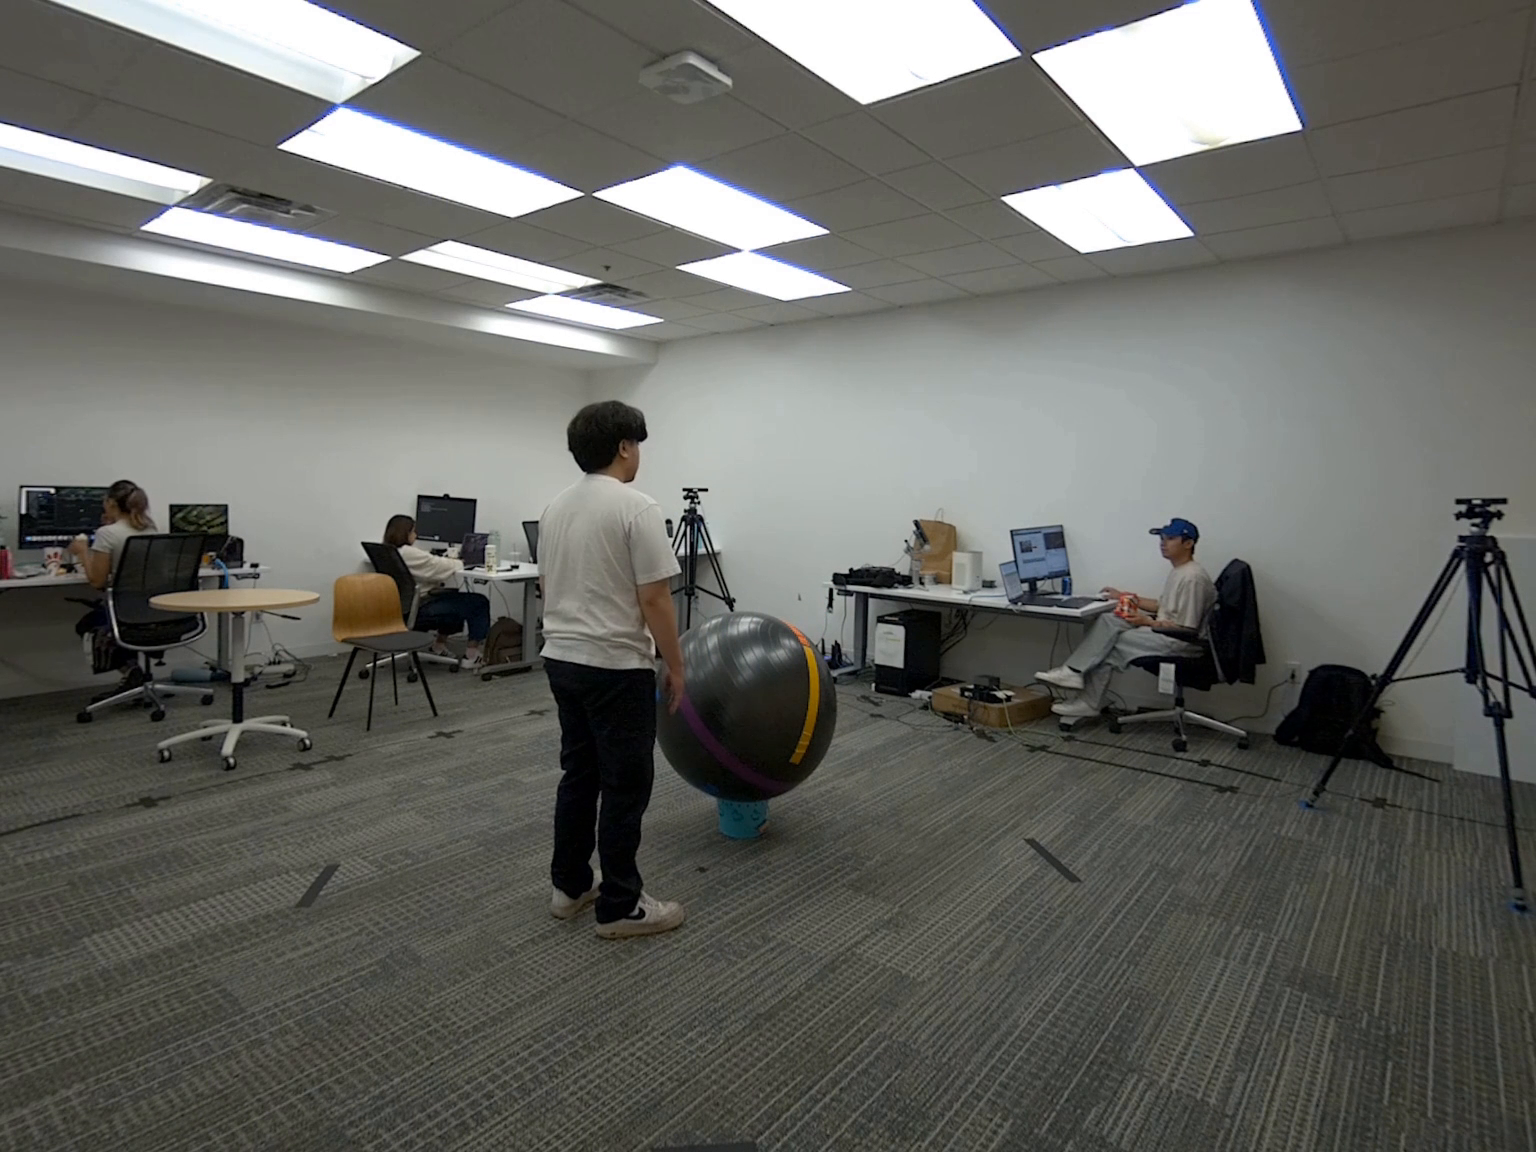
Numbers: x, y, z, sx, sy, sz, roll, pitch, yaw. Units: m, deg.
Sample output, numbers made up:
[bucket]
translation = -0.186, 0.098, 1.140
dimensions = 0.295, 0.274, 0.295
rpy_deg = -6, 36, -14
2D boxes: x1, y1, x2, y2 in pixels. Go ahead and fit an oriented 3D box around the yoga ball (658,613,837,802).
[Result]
[yoga ball]
translation = -0.098, 0.524, 3.467
dimensions = 0.757, 0.755, 0.762
rpy_deg = 1, 4, -2
